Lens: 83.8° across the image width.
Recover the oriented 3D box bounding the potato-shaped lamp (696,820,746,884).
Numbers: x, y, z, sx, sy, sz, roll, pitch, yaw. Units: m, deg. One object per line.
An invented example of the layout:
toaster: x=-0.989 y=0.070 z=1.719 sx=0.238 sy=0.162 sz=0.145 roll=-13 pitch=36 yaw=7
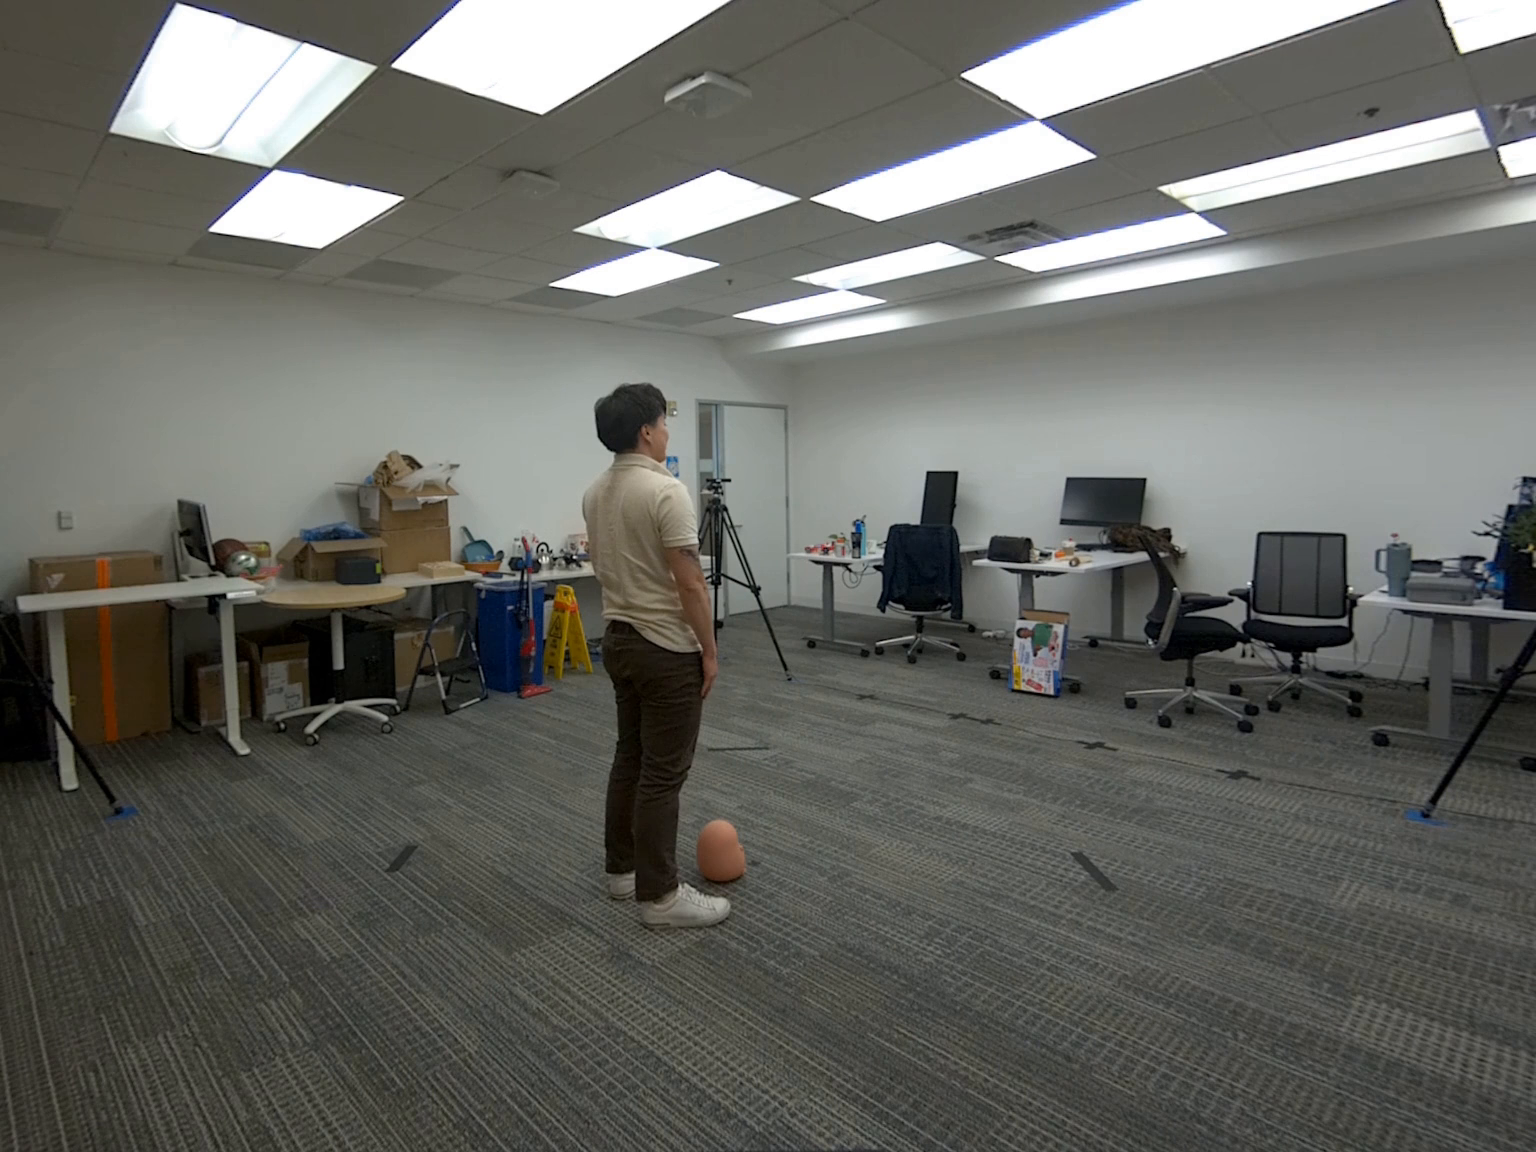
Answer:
potato-shaped lamp: x=-0.161 y=0.960 z=3.002 sx=0.167 sy=0.197 sz=0.170 roll=-5 pitch=5 yaw=-42
